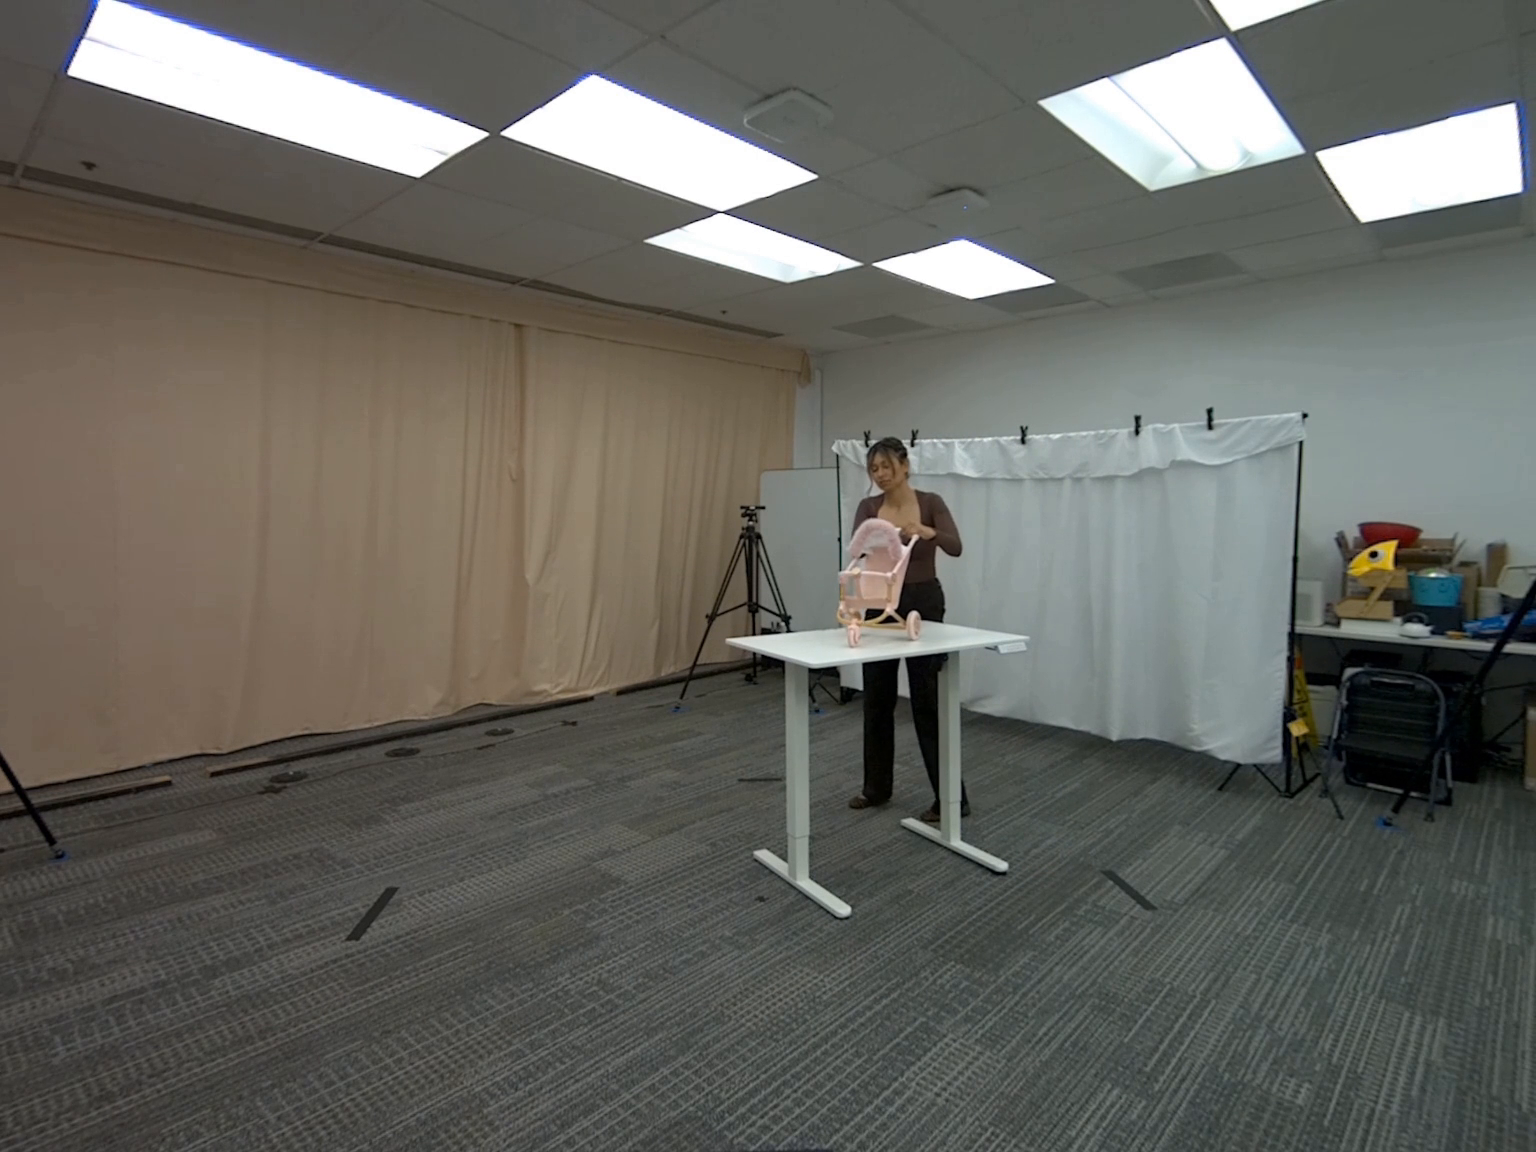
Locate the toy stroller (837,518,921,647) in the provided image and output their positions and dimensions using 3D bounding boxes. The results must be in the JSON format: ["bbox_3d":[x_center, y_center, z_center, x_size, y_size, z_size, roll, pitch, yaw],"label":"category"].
[{"bbox_3d":[0.410,0.023,3.189,0.290,0.538,0.329,-1,-14,37],"label":"toy stroller"}]
